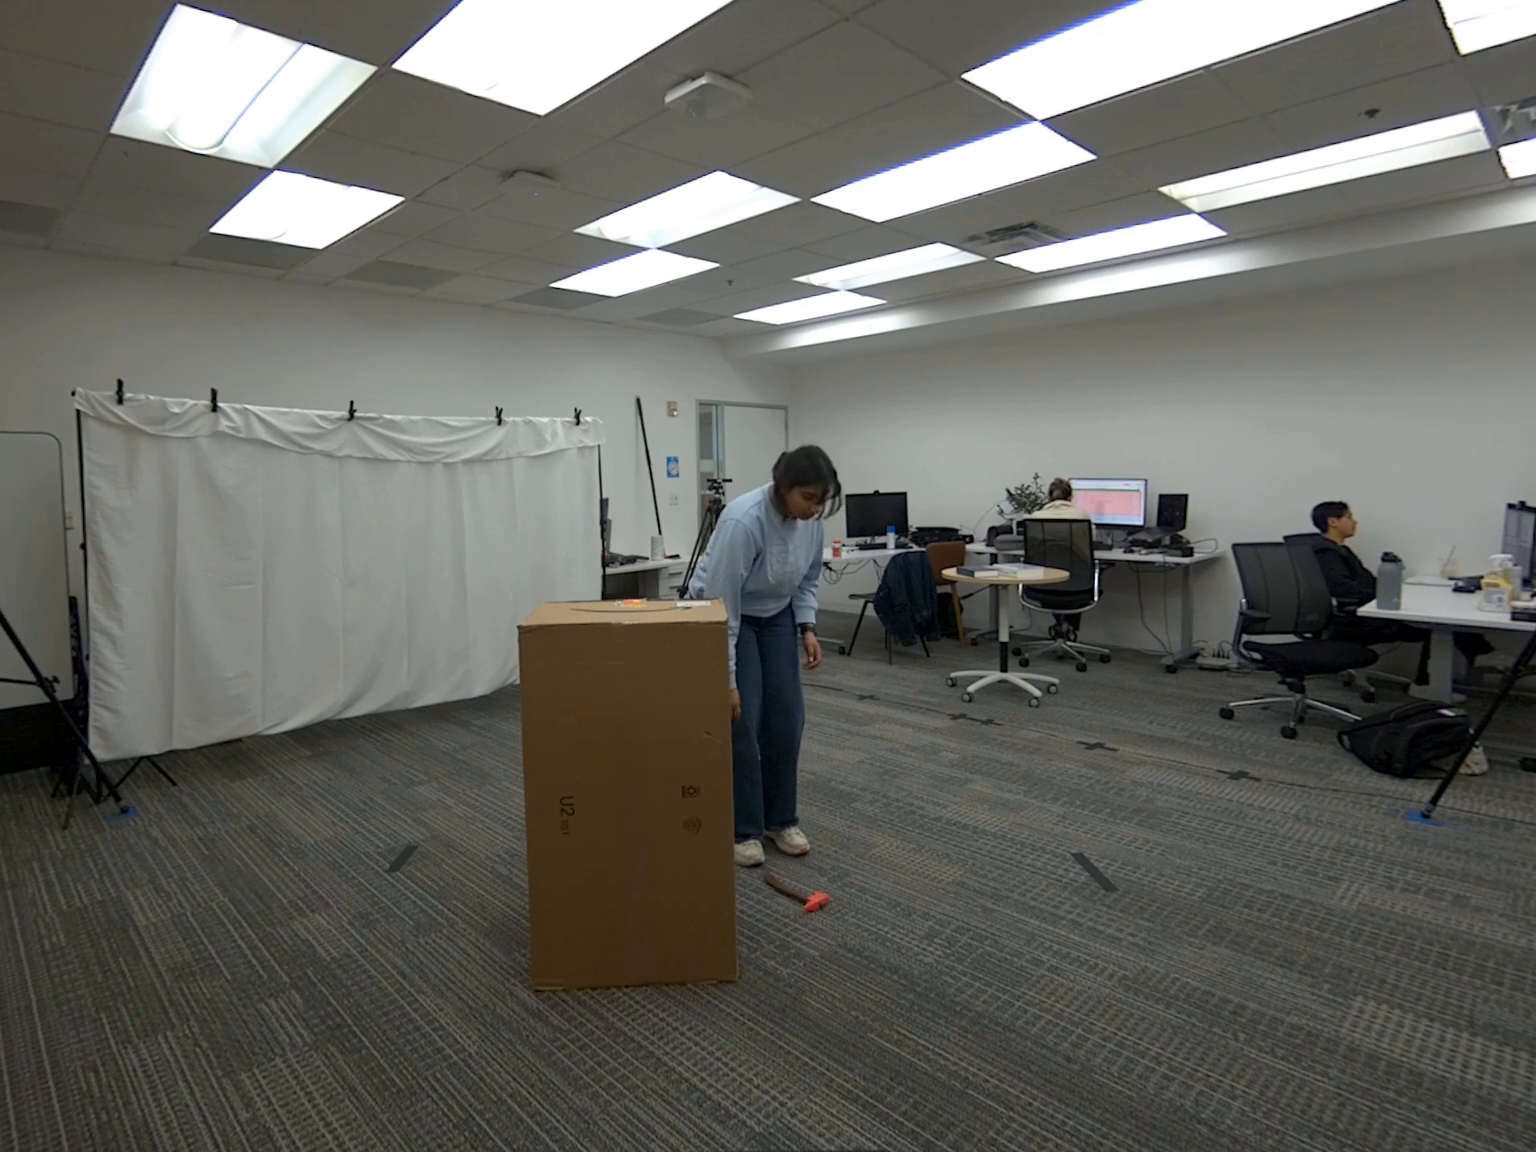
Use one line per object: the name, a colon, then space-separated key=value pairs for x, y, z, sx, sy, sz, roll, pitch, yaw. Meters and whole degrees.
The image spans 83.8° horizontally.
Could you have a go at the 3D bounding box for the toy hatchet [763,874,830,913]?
toy hatchet: x=0.110 y=1.061 z=2.876 sx=0.128 sy=0.029 sz=0.277 roll=-3 pitch=5 yaw=-29
